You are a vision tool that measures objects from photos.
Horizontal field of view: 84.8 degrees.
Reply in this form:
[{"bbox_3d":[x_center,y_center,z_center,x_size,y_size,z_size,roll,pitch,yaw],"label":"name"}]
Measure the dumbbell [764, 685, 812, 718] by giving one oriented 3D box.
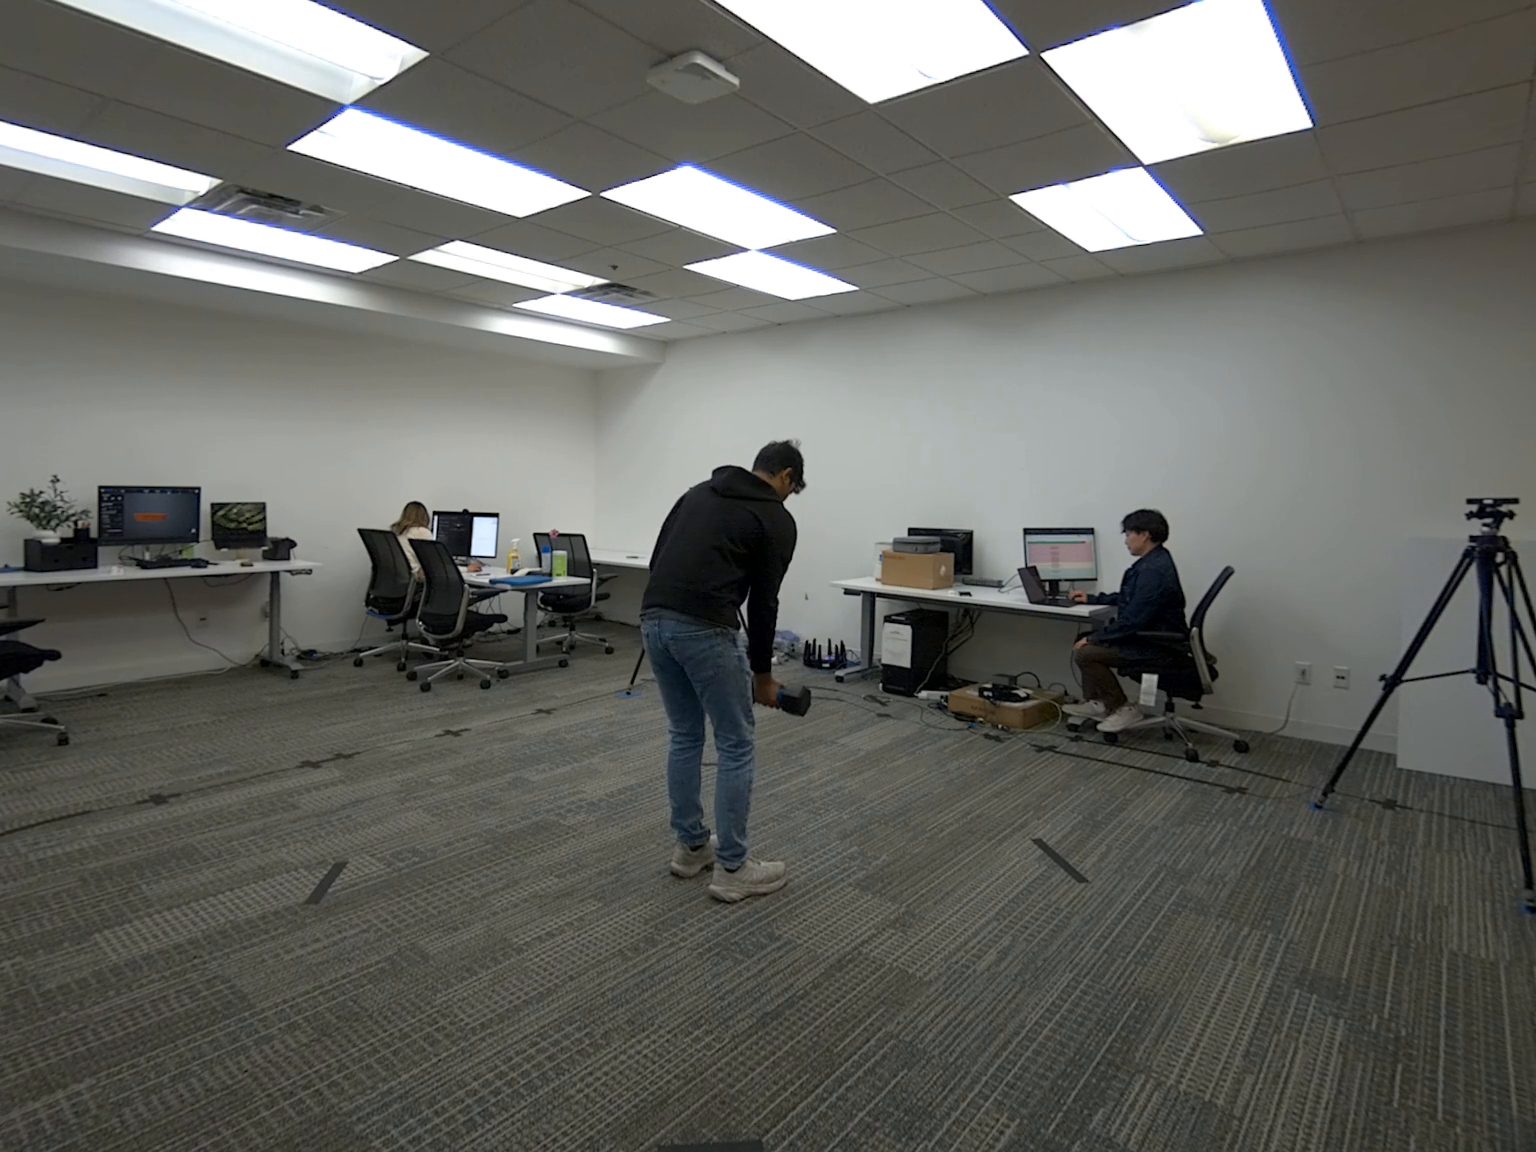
[{"bbox_3d":[0.002,0.447,3.175,0.303,0.122,0.106,7,13,31],"label":"dumbbell"}]
